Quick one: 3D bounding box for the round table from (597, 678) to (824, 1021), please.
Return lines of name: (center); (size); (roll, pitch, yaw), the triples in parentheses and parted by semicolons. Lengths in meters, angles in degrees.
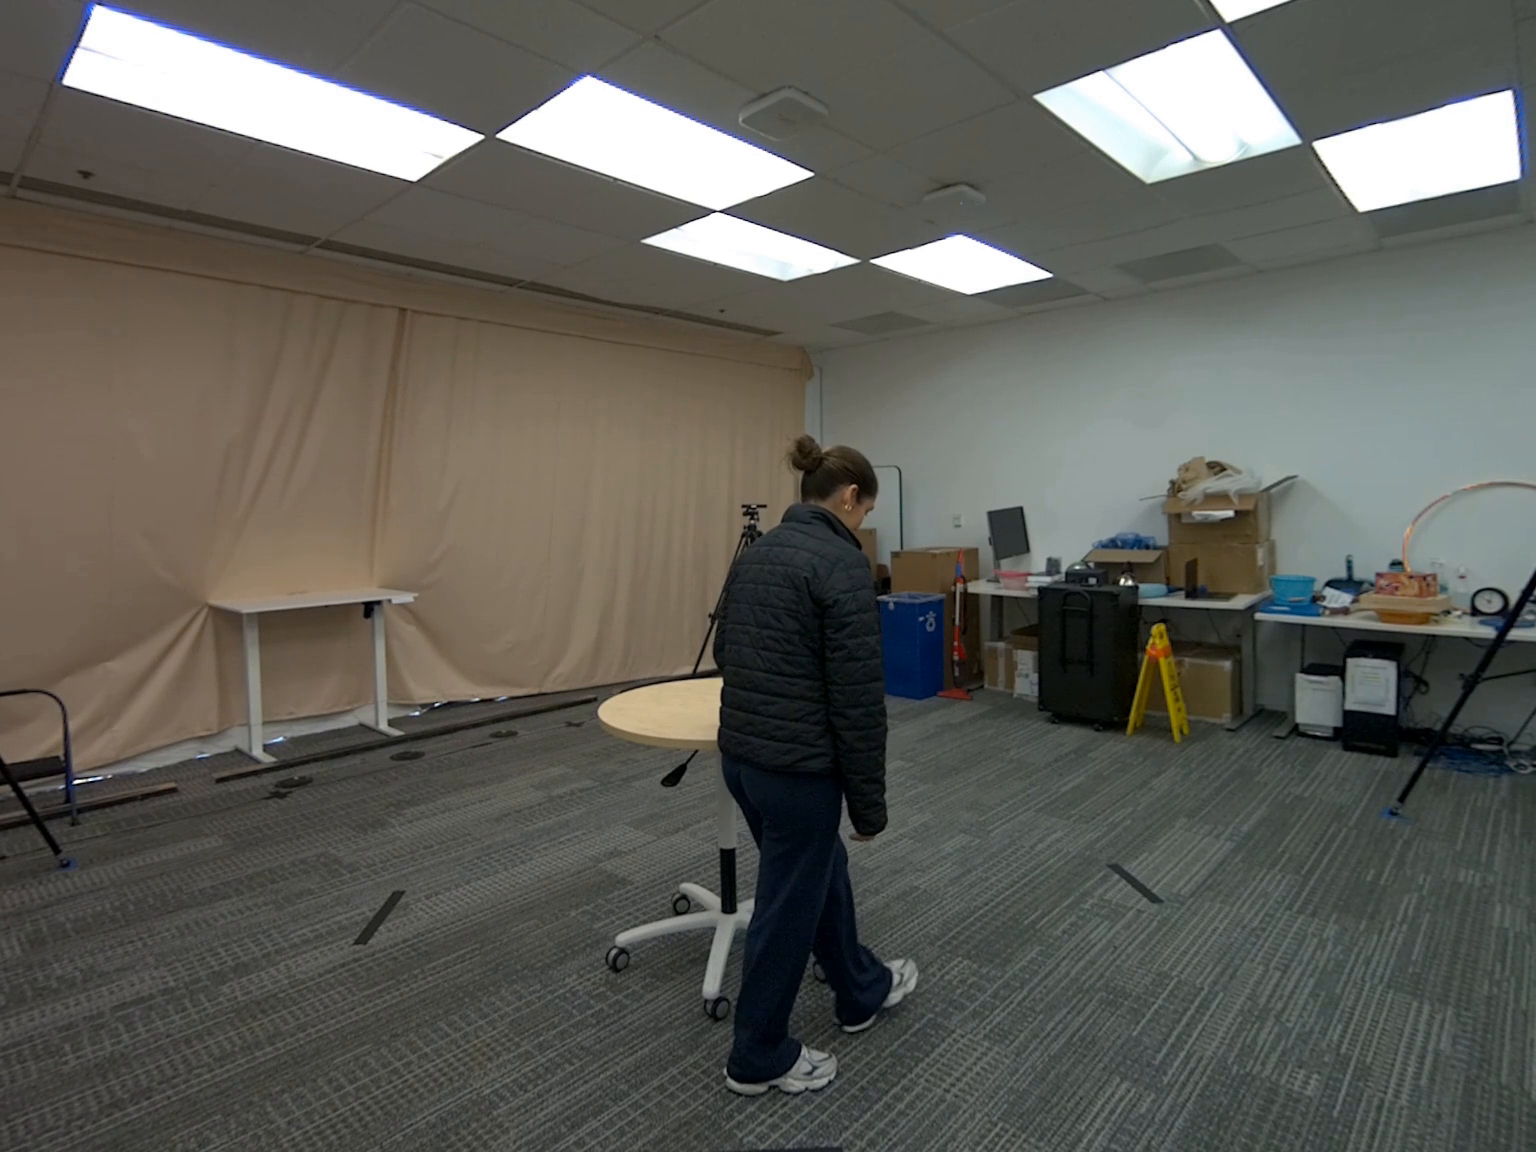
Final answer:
round table: (-0.094, 0.779, 2.598); (0.784, 0.784, 0.788); (-2, 4, -2)
